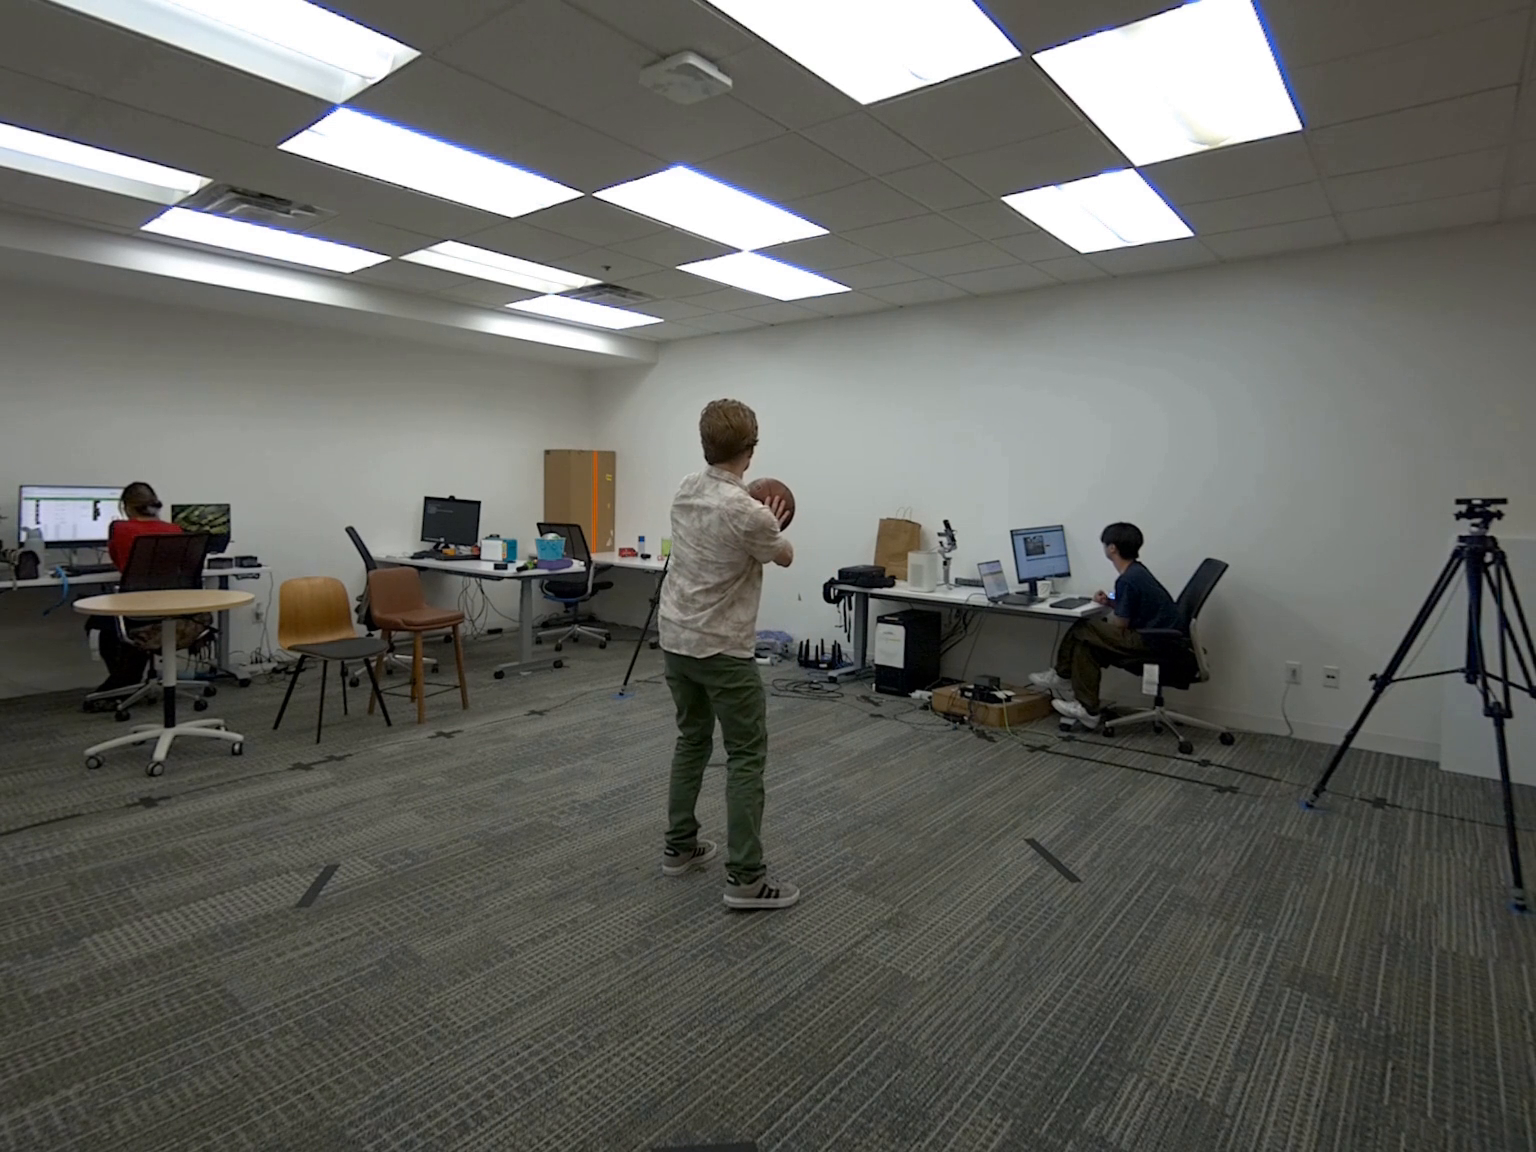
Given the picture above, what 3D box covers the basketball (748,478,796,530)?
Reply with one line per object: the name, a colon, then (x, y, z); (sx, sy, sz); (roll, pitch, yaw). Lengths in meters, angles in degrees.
basketball: (-0.009, -0.289, 3.497); (0.235, 0.235, 0.237); (1, 4, -2)
